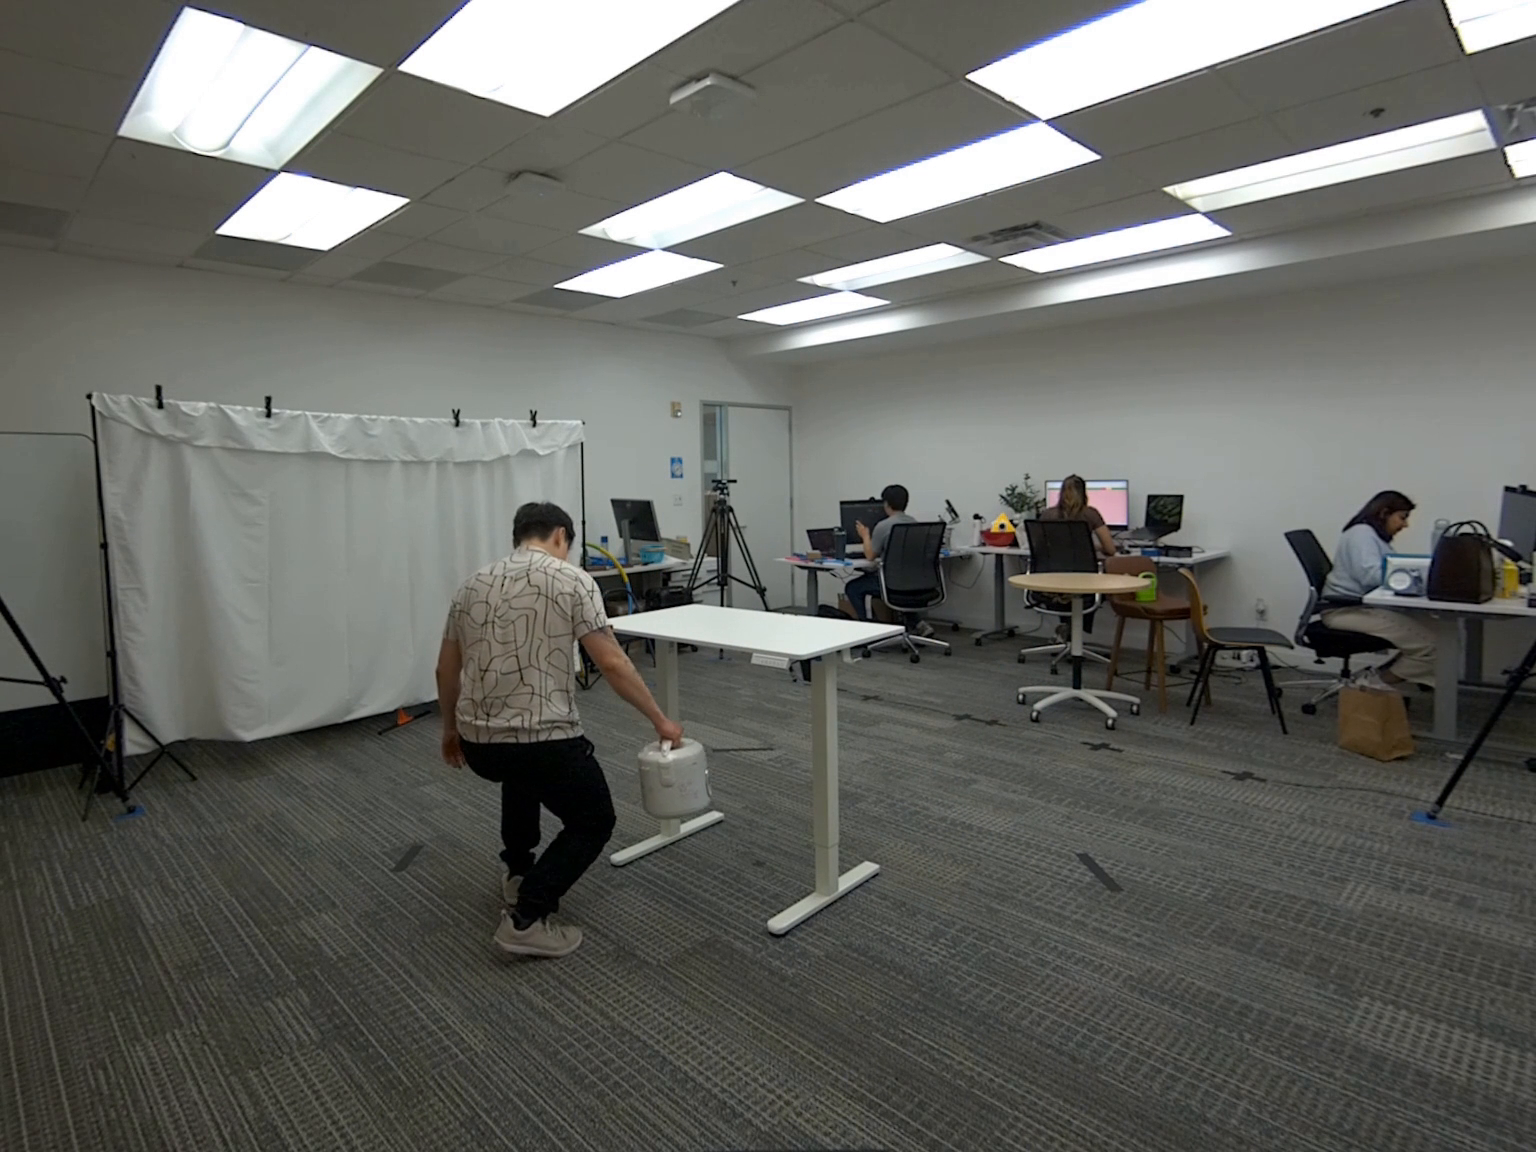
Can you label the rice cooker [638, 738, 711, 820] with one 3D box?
[{"bbox_3d":[-0.291,0.606,2.639,0.218,0.232,0.220,-7,2,5],"label":"rice cooker"}]
